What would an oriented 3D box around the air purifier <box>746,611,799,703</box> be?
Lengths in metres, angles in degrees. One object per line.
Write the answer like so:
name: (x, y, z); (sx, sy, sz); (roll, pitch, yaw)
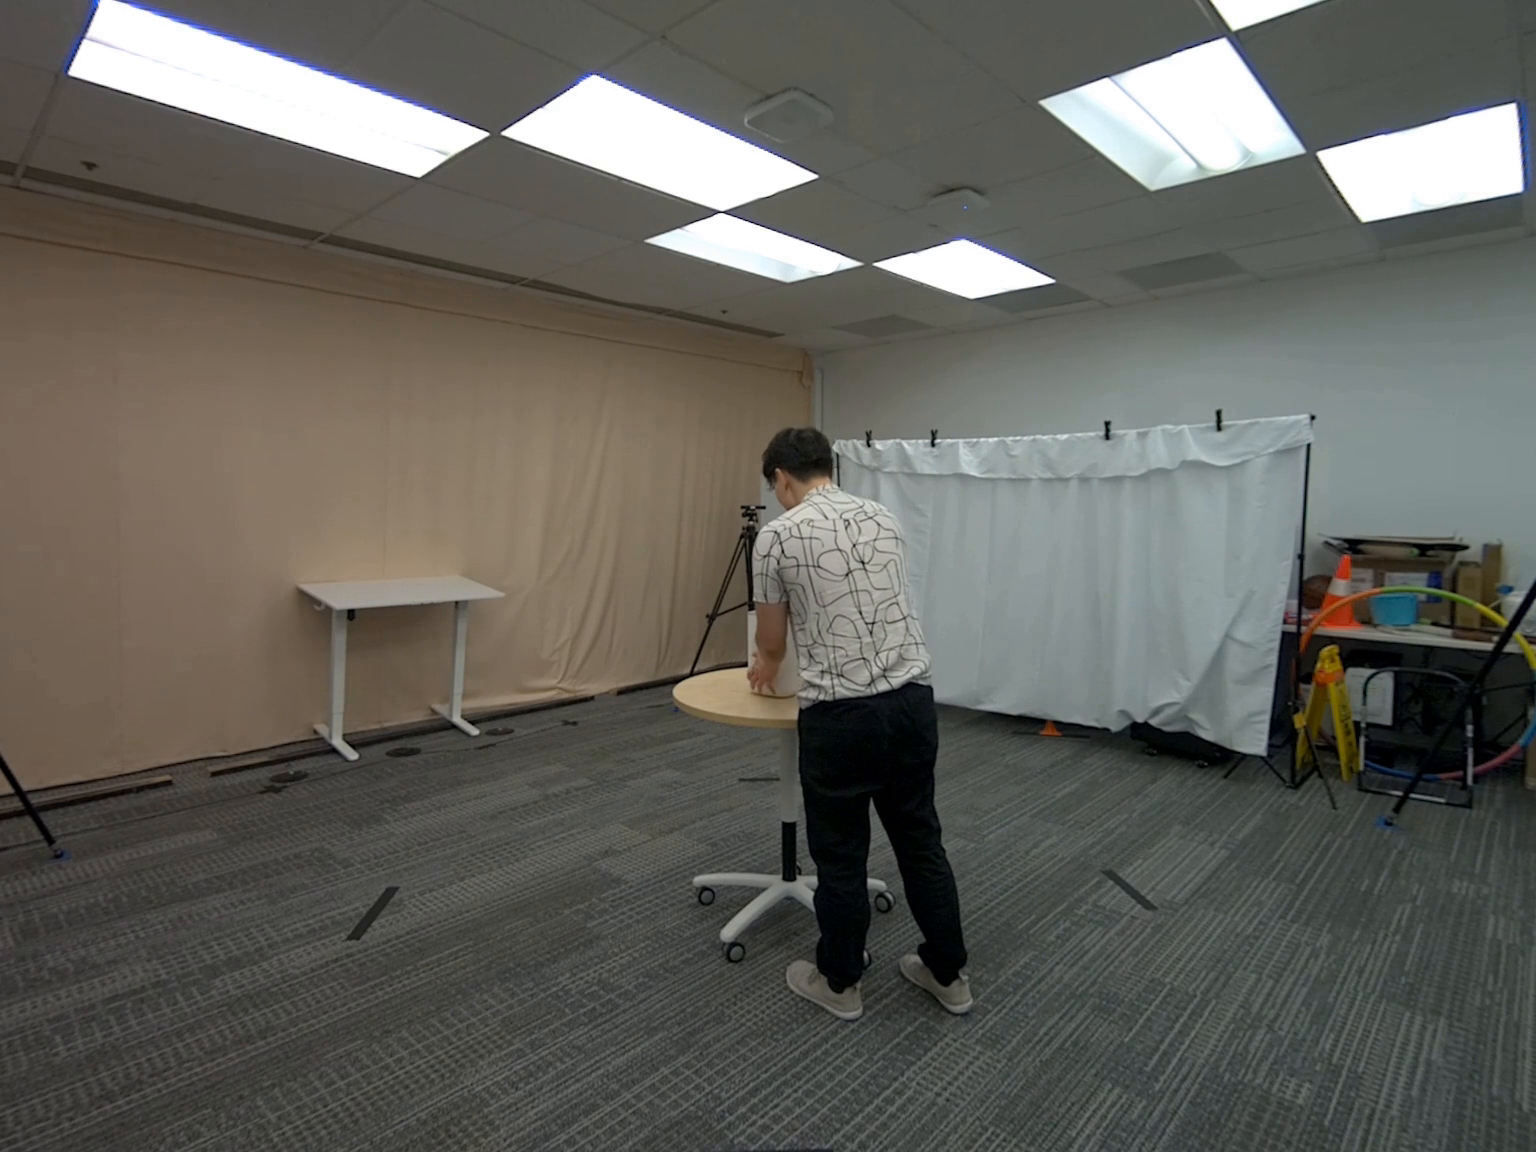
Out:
air purifier: (0.046, 0.247, 2.736); (0.177, 0.265, 0.166); (2, 4, 31)
